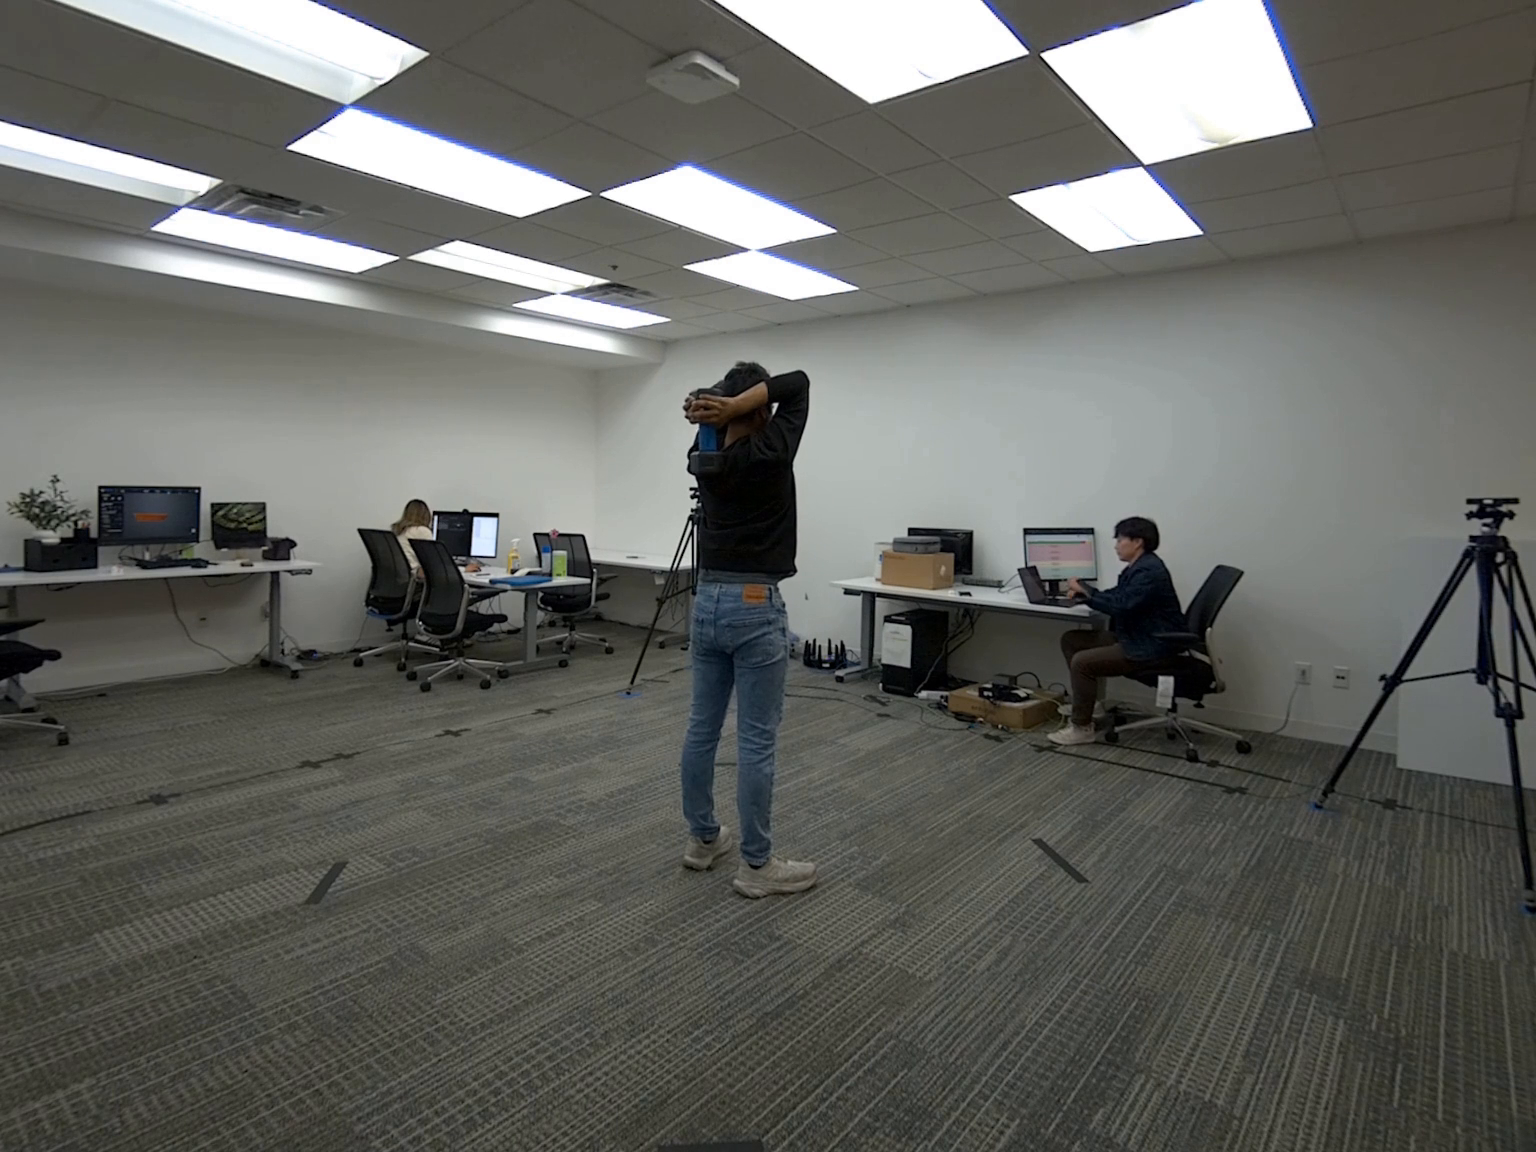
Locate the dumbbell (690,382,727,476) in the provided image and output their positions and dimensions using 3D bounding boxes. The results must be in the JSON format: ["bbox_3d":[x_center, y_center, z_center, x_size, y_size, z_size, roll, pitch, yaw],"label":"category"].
[{"bbox_3d":[-0.210,-0.507,2.918,0.105,0.293,0.127,2,2,-40],"label":"dumbbell"}]
